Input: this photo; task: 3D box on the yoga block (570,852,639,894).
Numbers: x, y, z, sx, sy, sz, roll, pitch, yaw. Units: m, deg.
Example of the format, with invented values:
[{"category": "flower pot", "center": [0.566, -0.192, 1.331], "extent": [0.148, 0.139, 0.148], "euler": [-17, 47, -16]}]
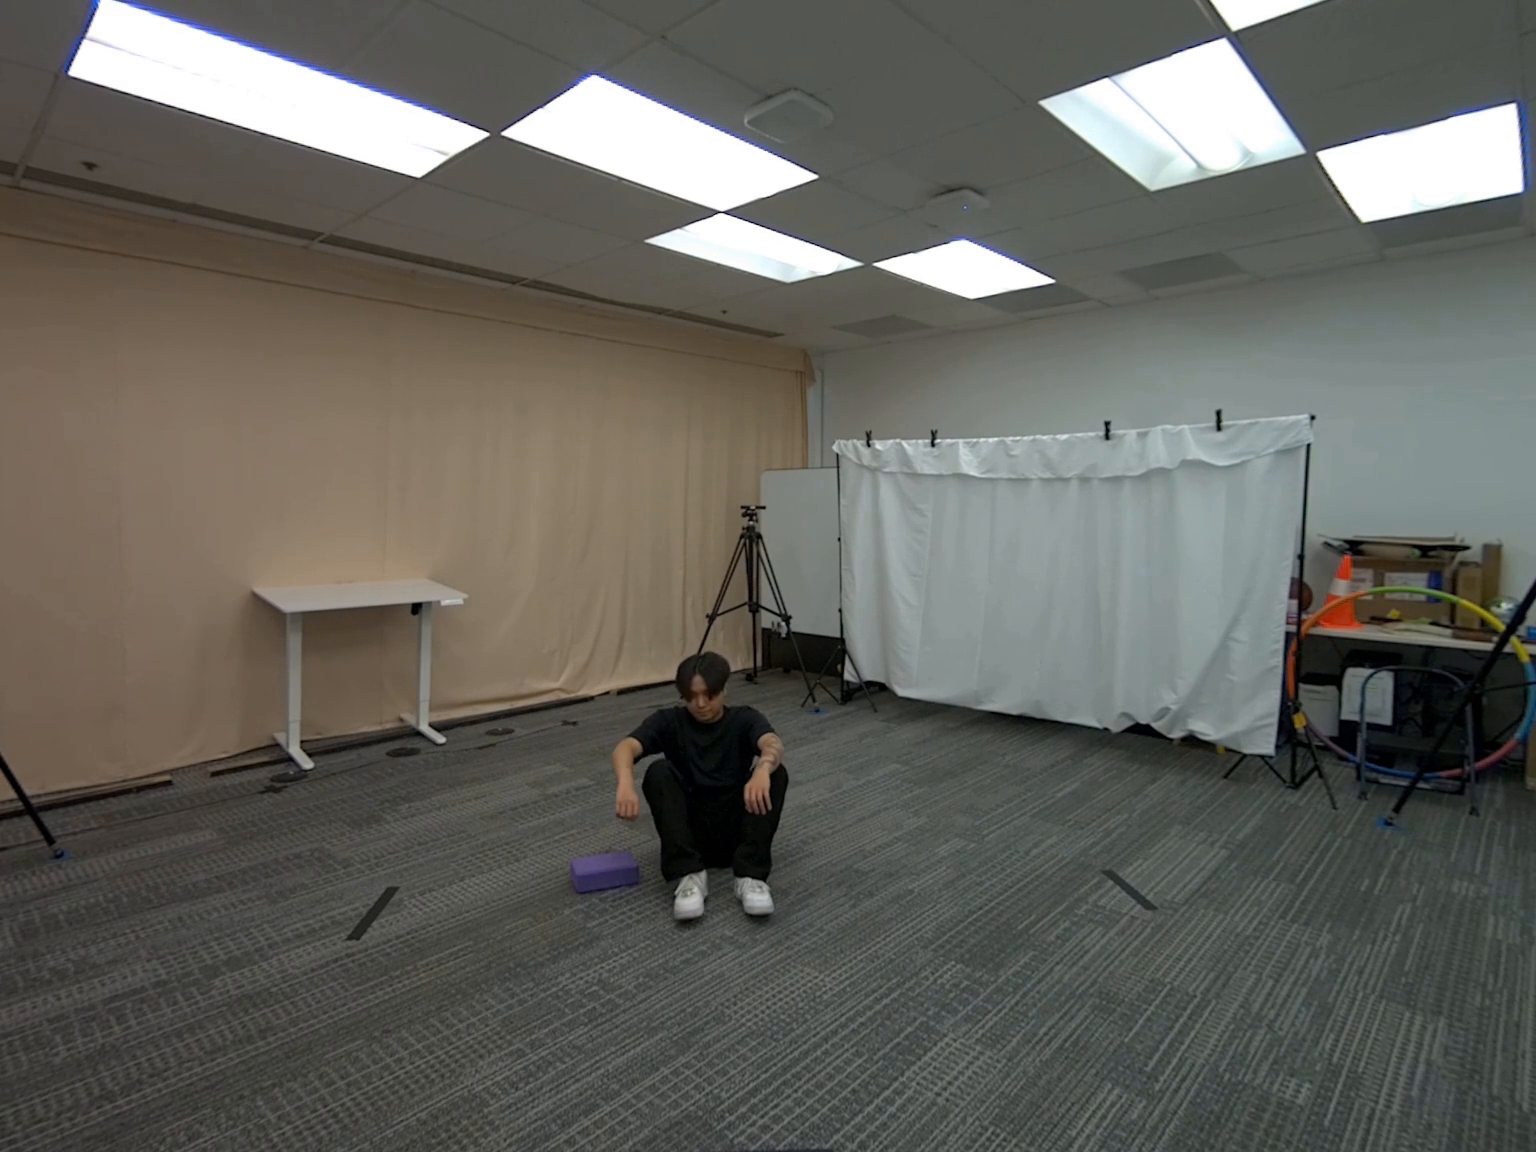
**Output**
[{"category": "yoga block", "center": [-0.608, 1.101, 3.130], "extent": [0.224, 0.076, 0.152], "euler": [-2, 5, -21]}]
